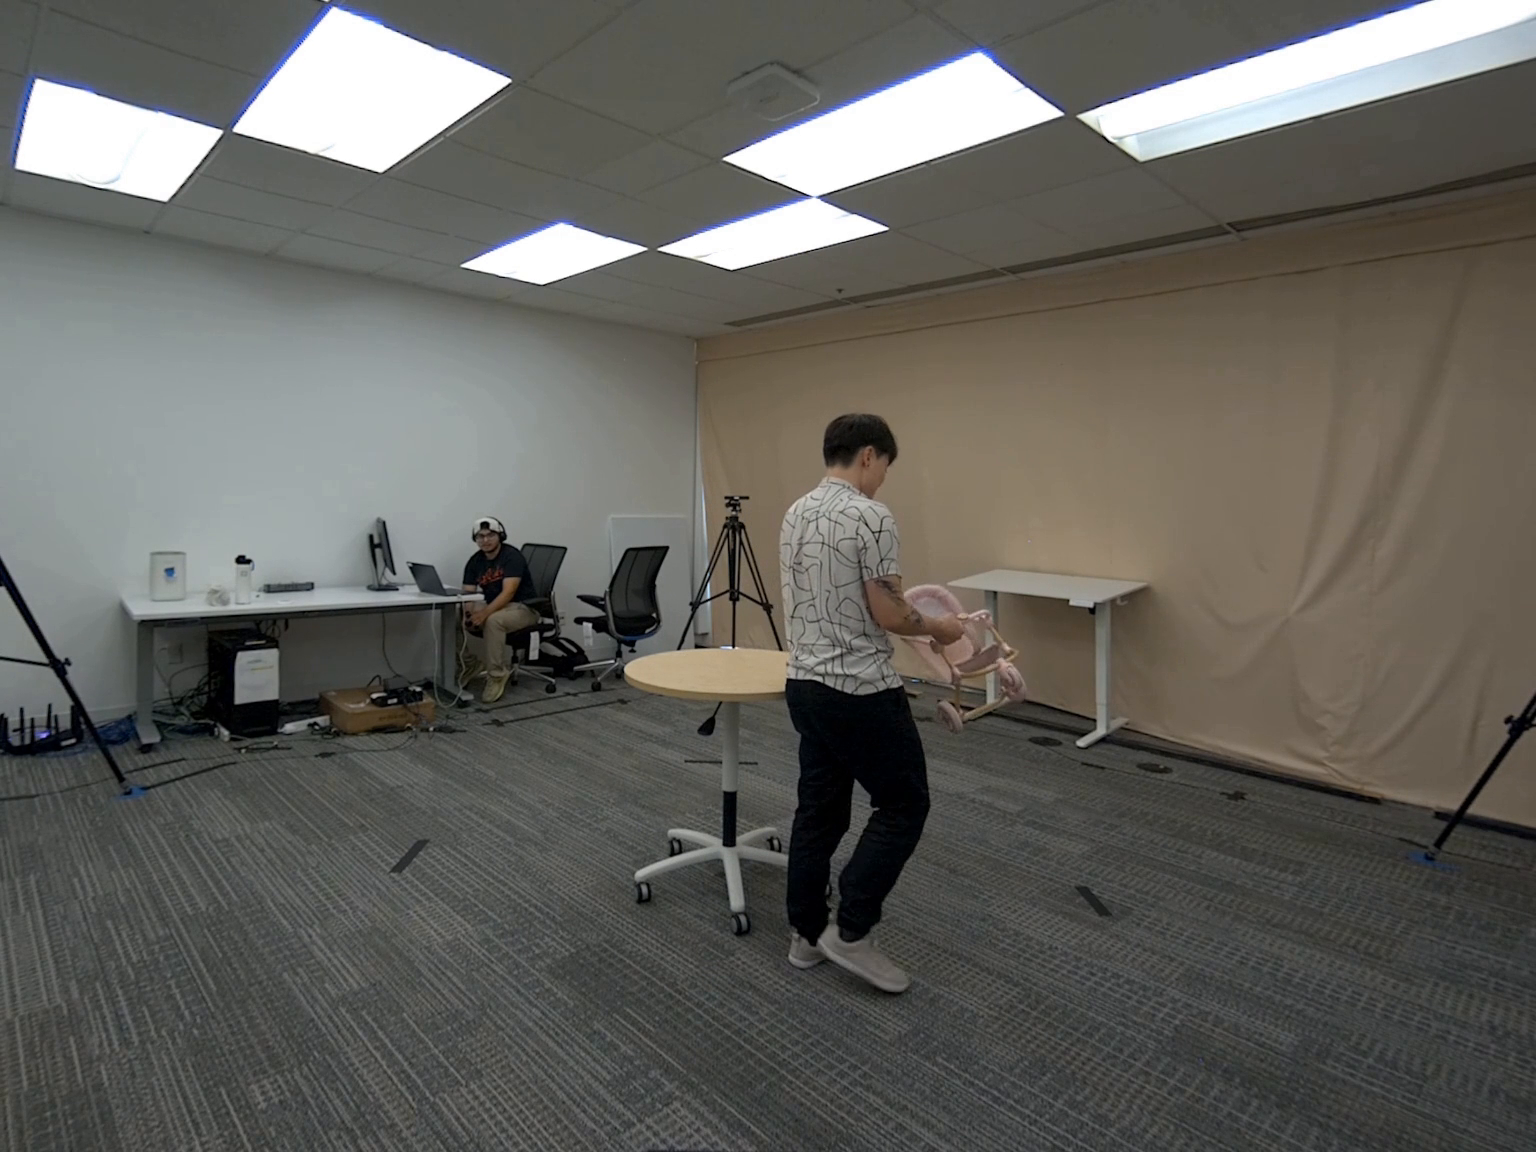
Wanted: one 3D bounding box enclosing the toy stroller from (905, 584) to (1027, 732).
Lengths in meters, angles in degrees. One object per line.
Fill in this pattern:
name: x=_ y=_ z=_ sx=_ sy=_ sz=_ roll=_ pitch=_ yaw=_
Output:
toy stroller: x=0.592 y=0.227 z=2.674 sx=0.280 sy=0.333 sz=0.551 roll=-23 pitch=52 yaw=-13
